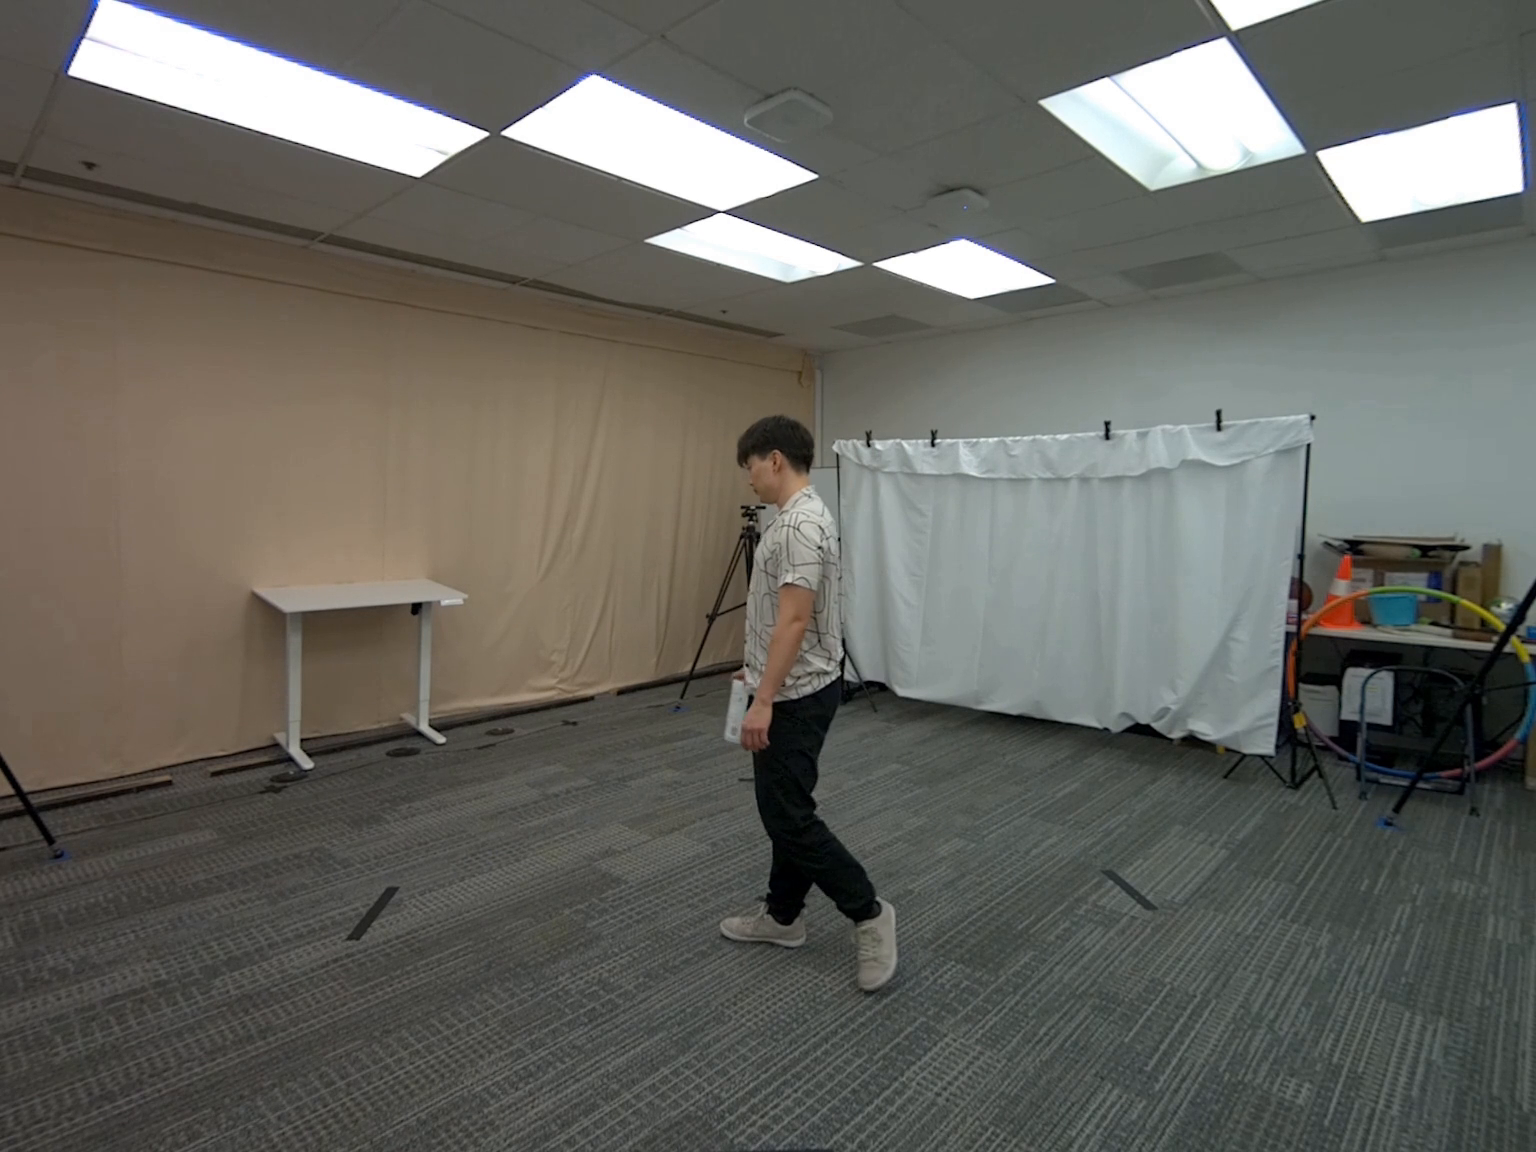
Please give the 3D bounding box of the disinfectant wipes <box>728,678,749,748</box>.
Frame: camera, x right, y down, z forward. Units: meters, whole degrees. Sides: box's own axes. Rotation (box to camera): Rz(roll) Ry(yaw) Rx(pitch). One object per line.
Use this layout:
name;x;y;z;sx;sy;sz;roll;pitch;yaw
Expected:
disinfectant wipes;-0.067;0.478;2.952;0.118;0.218;0.118;8;-3;-2
